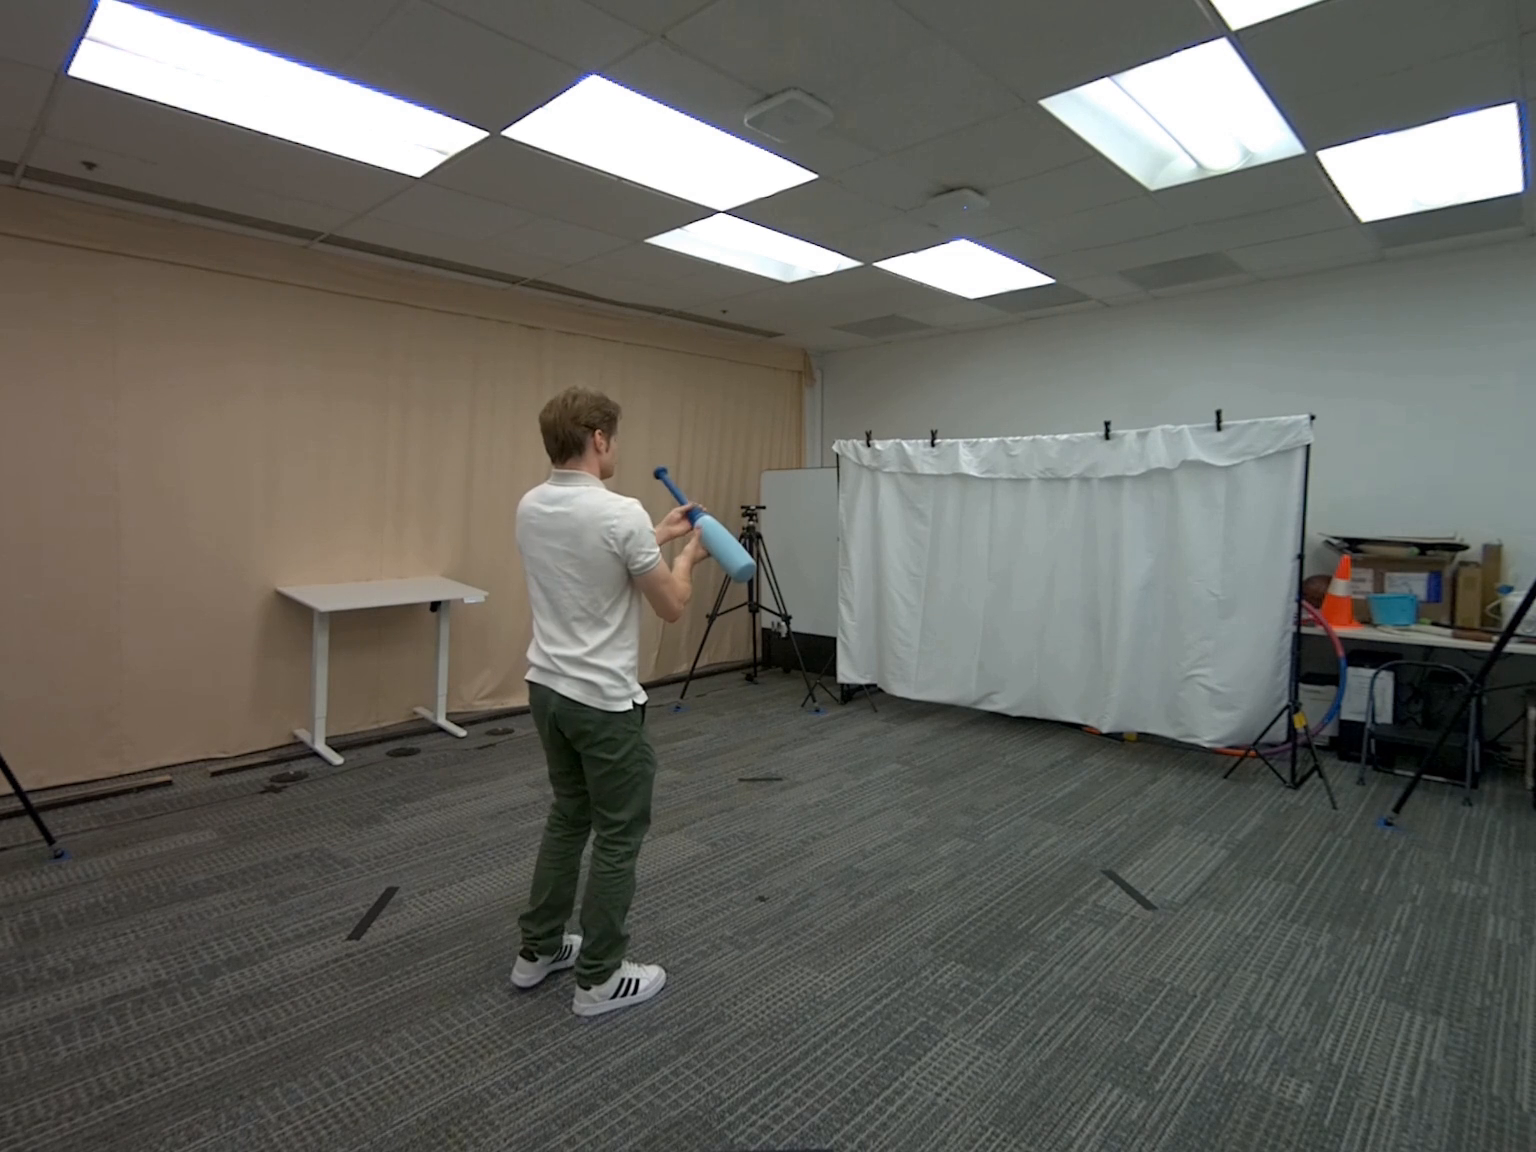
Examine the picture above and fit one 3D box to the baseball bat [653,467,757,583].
[{"bbox_3d":[-0.212,-0.177,2.631,0.086,0.089,0.561,-3,40,-42],"label":"baseball bat"}]
